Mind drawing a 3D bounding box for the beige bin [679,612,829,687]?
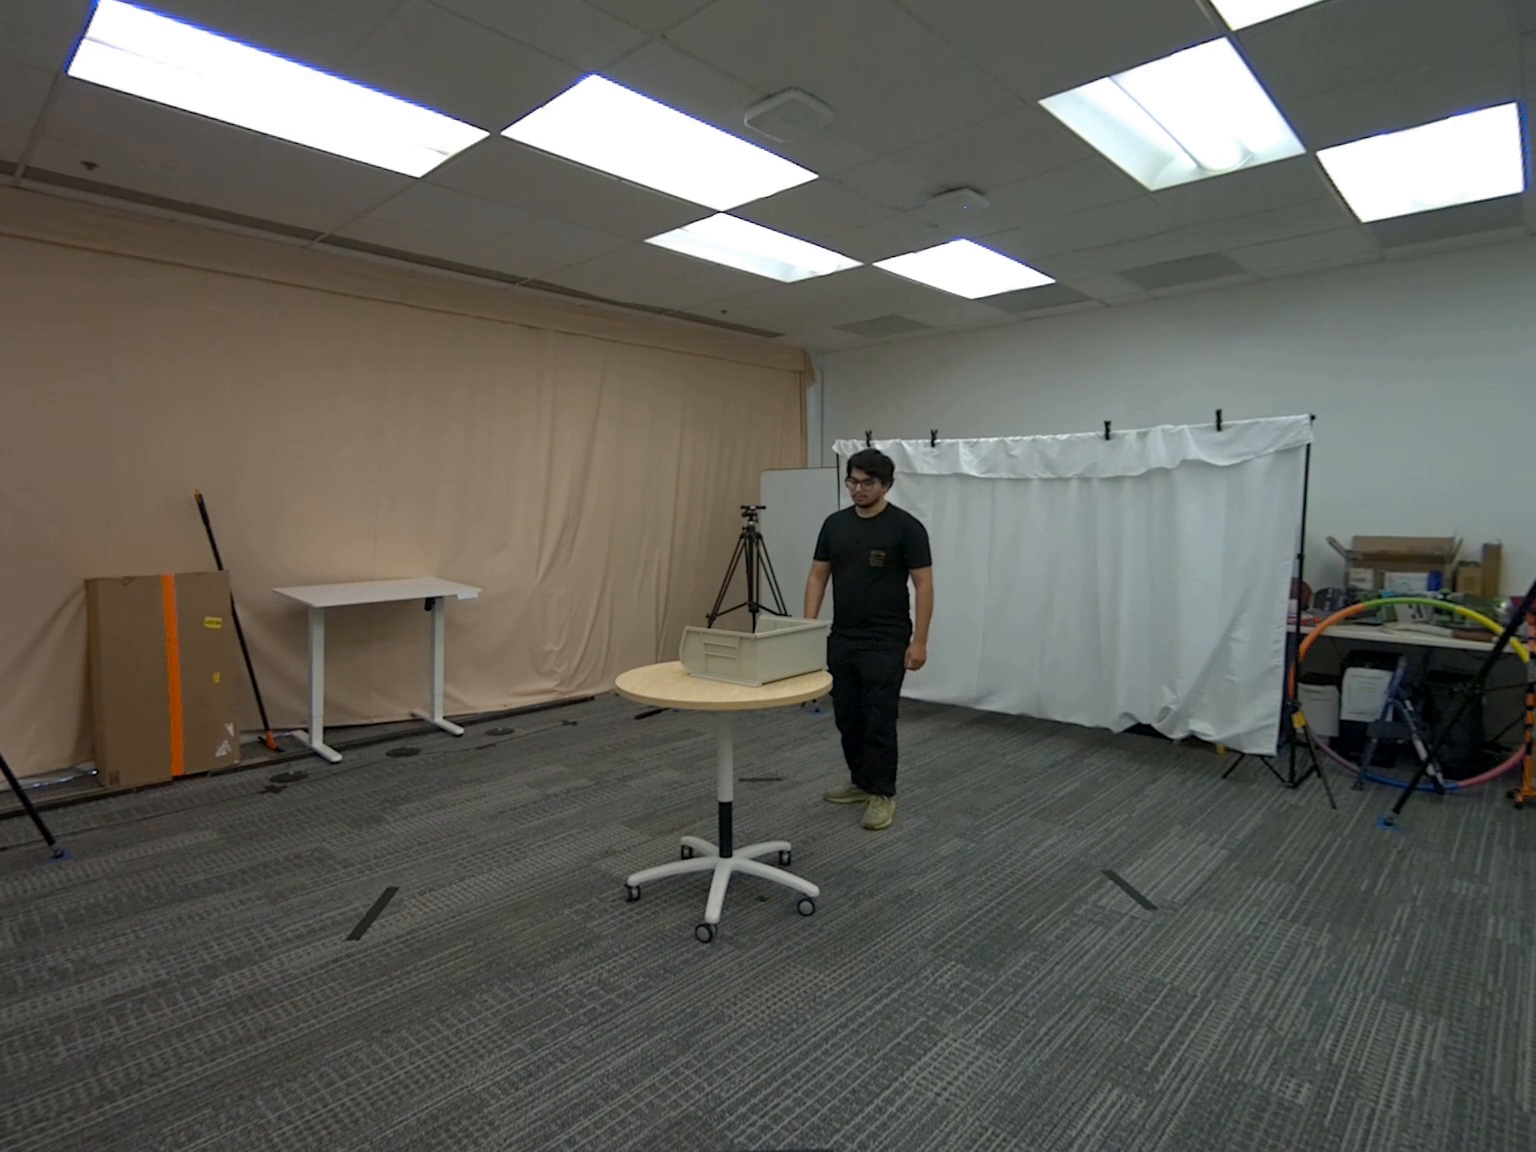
[{"bbox_3d":[-0.044,0.263,3.064,0.390,0.188,0.409,4,6,42],"label":"beige bin"}]
